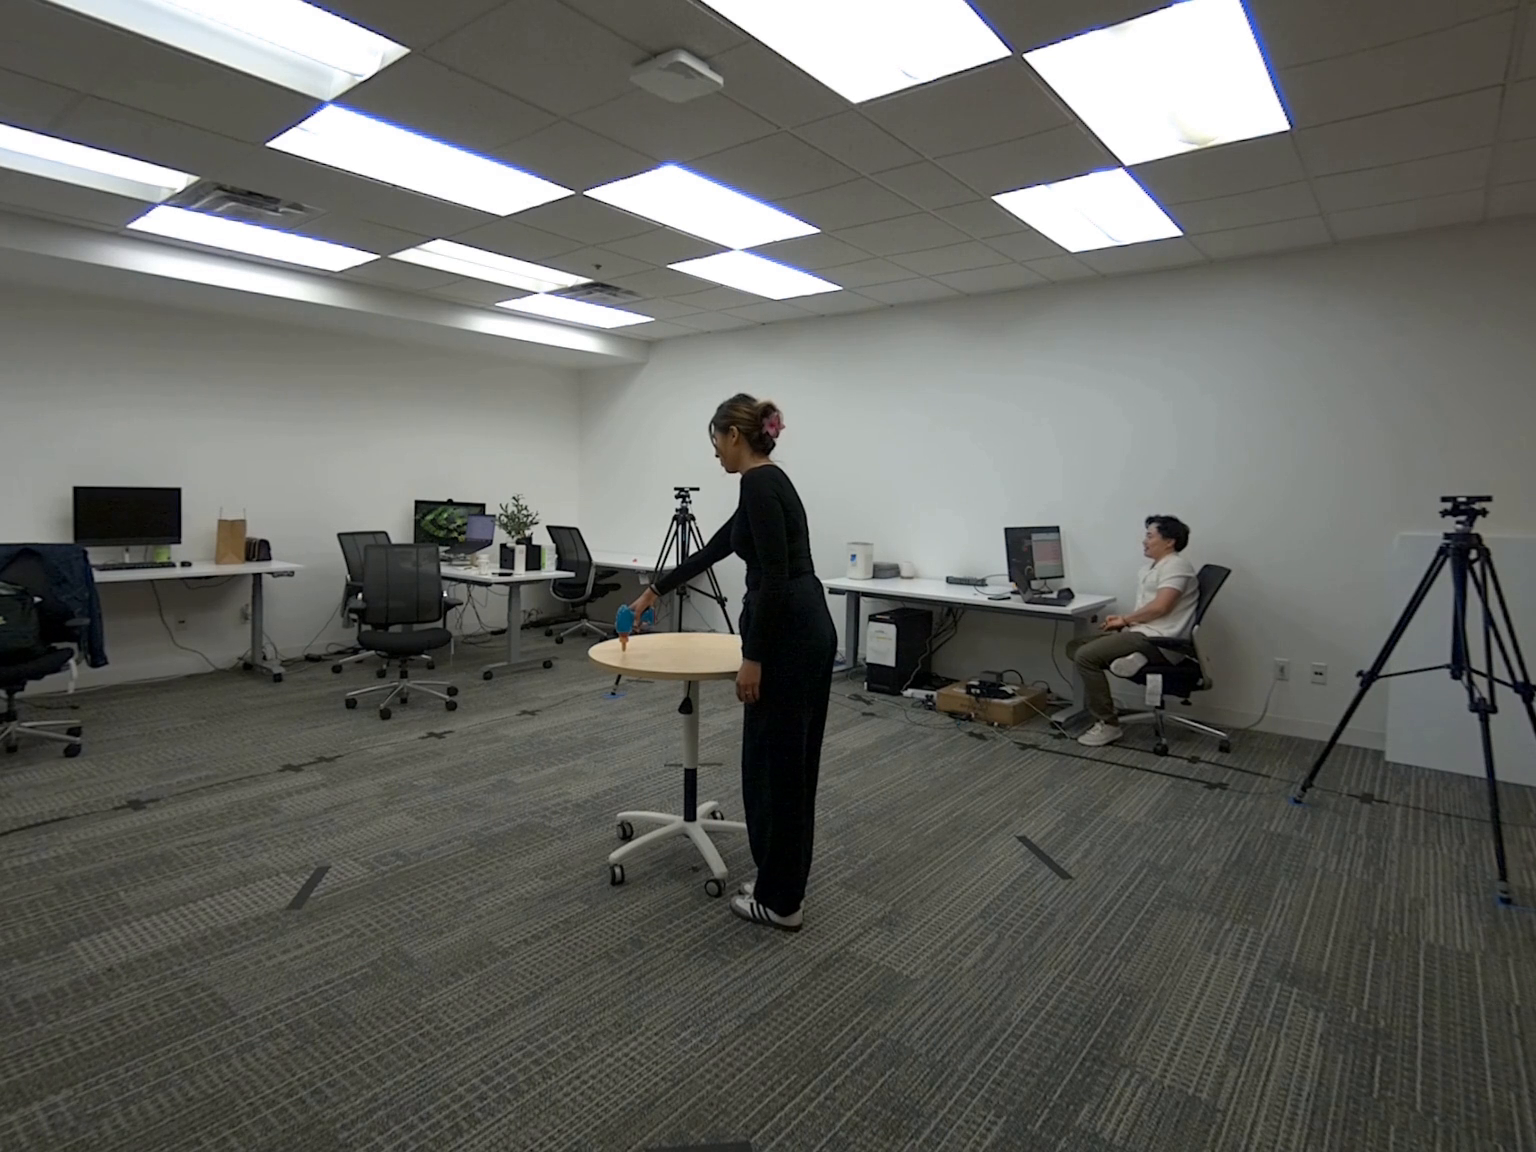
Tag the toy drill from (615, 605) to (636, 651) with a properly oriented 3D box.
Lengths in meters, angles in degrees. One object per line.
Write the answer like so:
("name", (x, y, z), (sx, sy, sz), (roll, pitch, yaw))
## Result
("toy drill", (-0.502, 0.190, 3.117), (0.142, 0.170, 0.062), (2, -4, -24))
